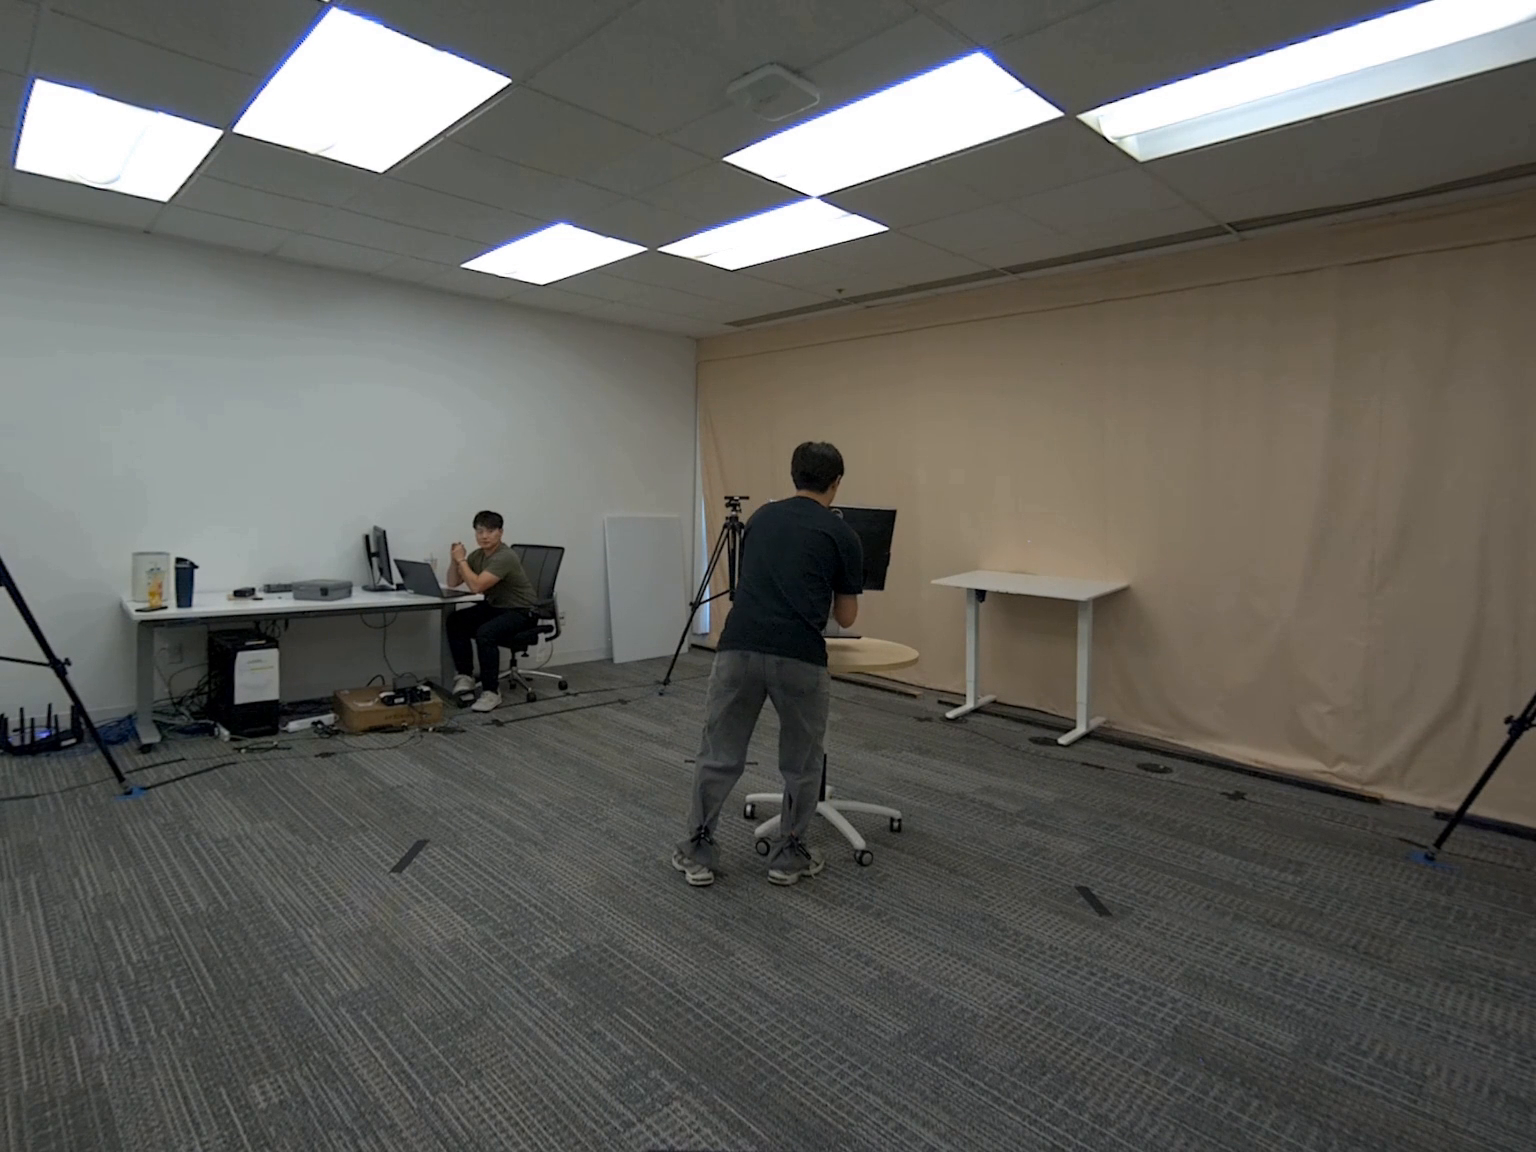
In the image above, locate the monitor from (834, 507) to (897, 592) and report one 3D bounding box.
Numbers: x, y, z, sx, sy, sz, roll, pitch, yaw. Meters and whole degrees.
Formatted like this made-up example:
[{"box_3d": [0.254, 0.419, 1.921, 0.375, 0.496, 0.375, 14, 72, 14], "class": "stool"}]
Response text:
[{"box_3d": [0.249, -0.015, 3.475, 0.556, 0.566, 0.224, 3, -1, -13], "class": "monitor"}]
